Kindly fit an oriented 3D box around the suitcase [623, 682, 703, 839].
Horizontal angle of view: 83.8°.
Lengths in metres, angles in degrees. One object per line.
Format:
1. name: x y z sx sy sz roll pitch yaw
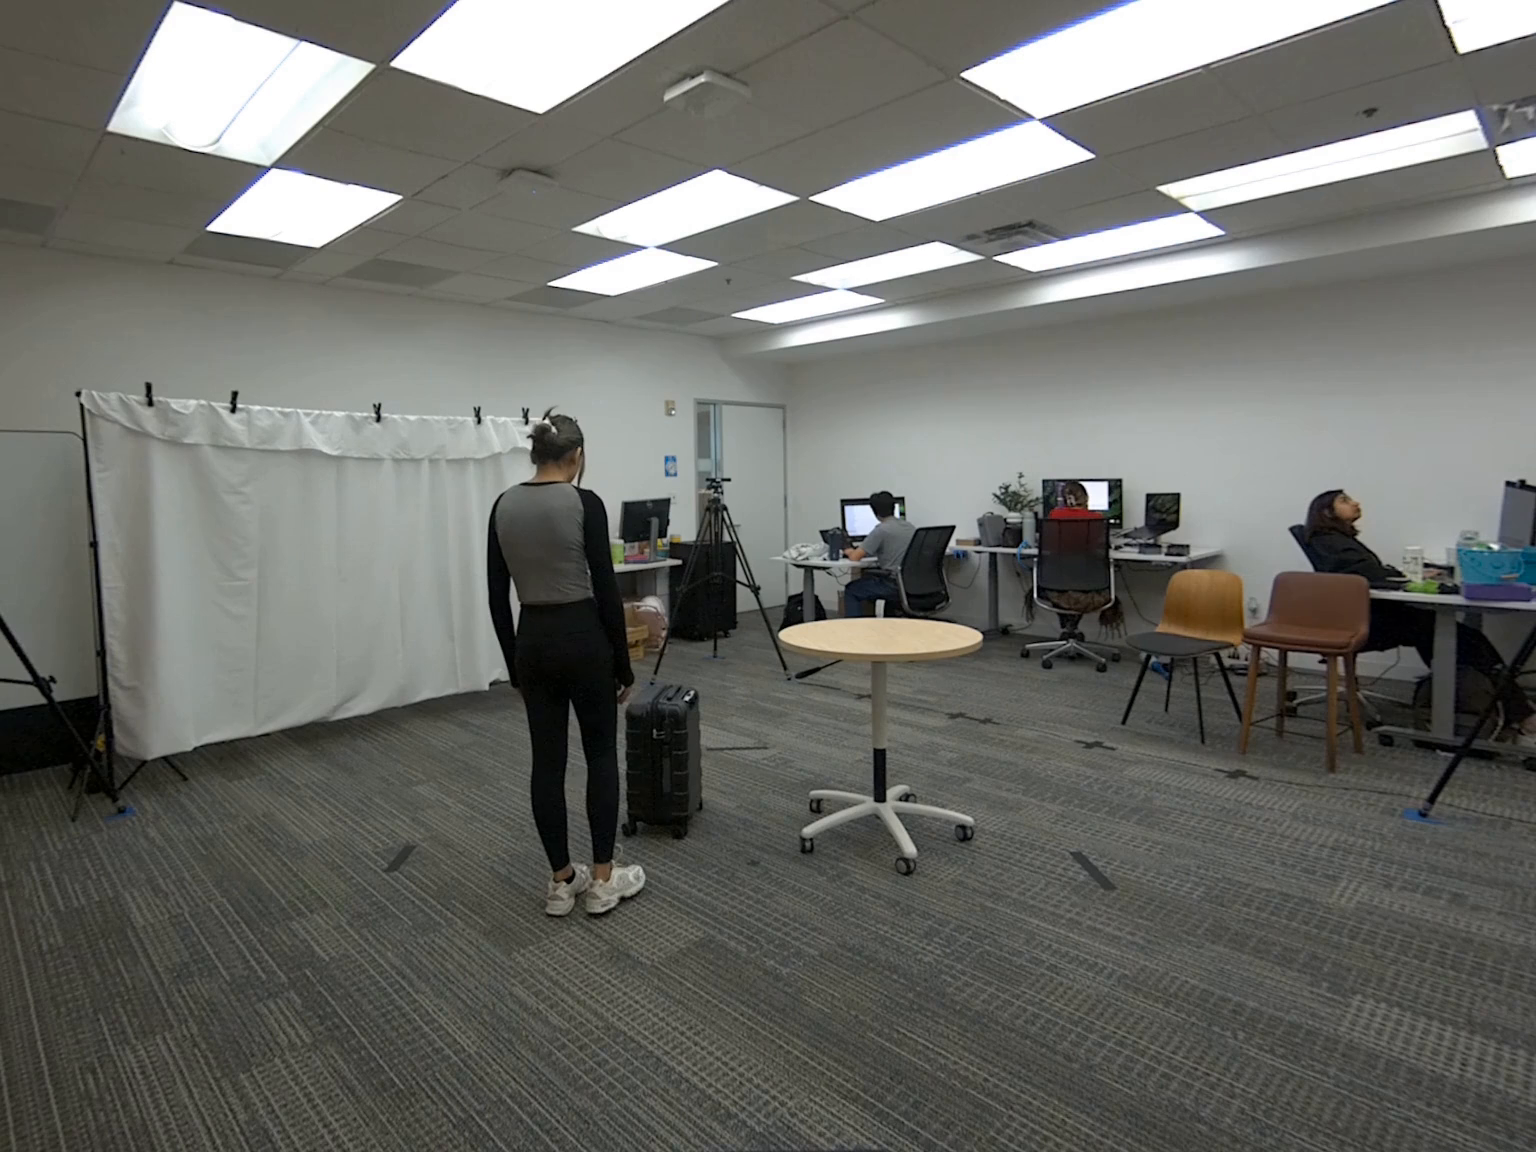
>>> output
1. suitcase: -0.425 0.739 3.473 0.250 0.547 0.374 -2 5 7
